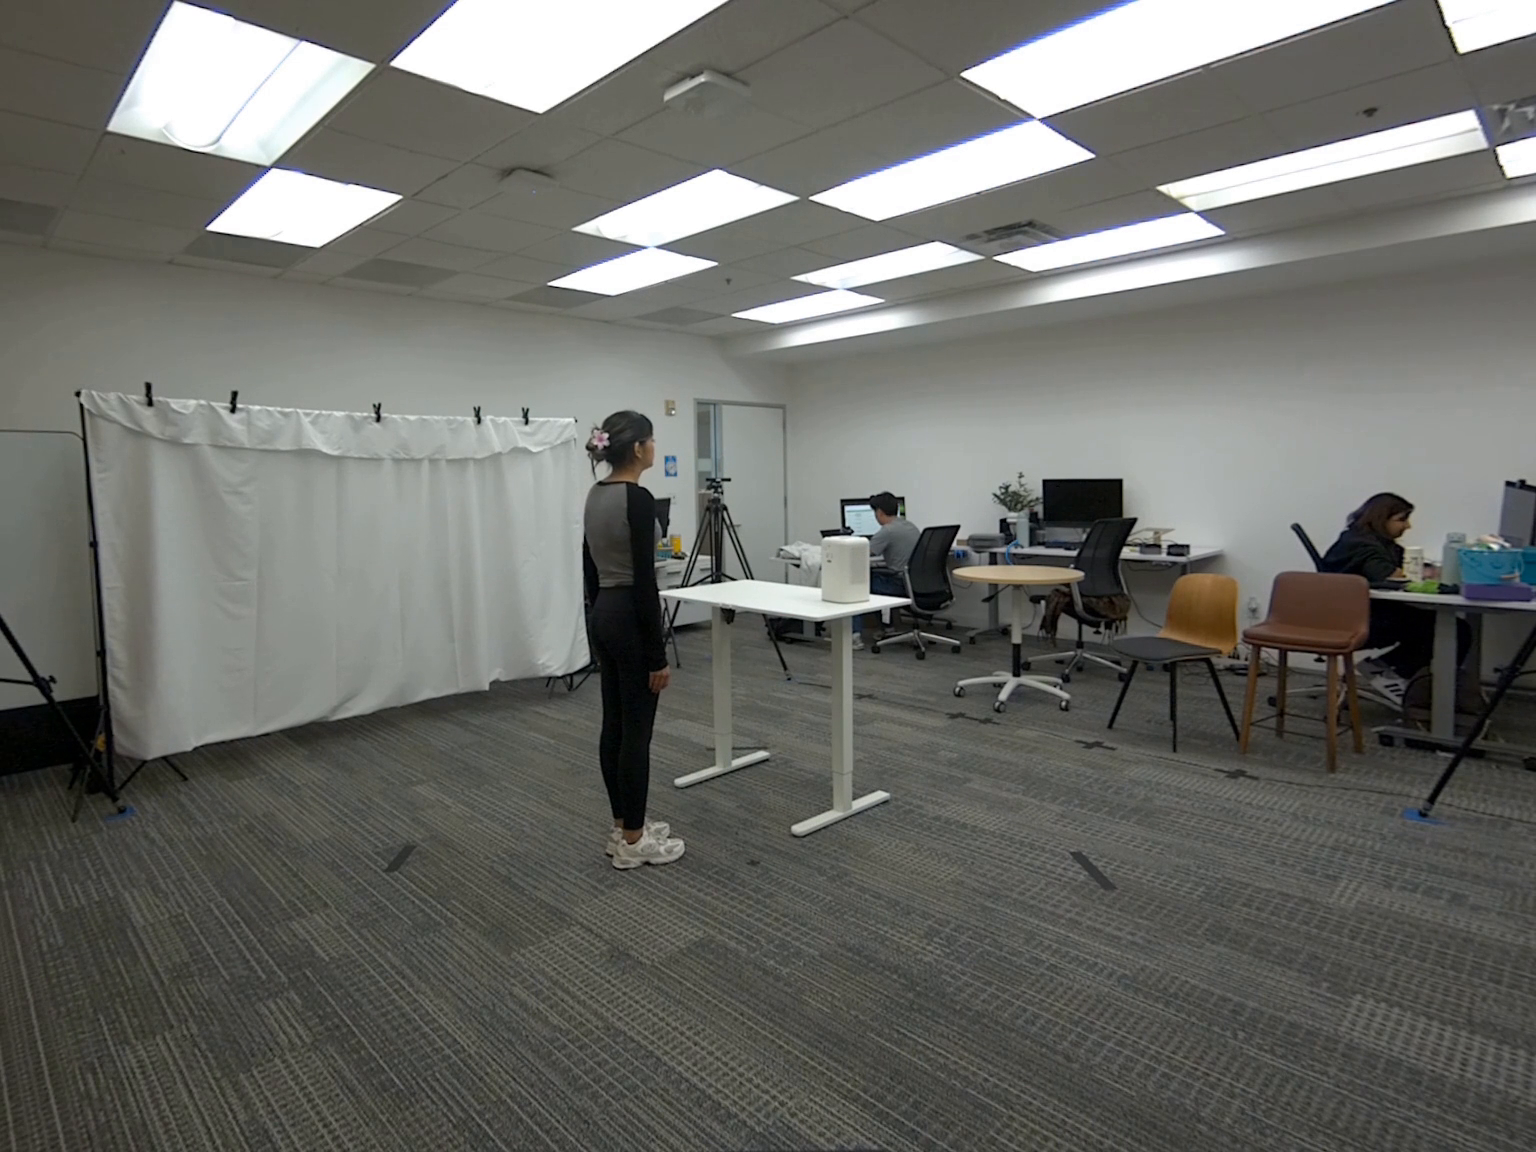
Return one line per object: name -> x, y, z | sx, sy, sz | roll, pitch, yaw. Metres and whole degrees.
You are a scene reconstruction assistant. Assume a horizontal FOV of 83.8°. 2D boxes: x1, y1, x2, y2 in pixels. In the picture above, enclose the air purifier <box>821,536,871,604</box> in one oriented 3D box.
air purifier -> 0.329, -0.030, 3.565 | 0.167, 0.264, 0.176 | -5, 8, -33
